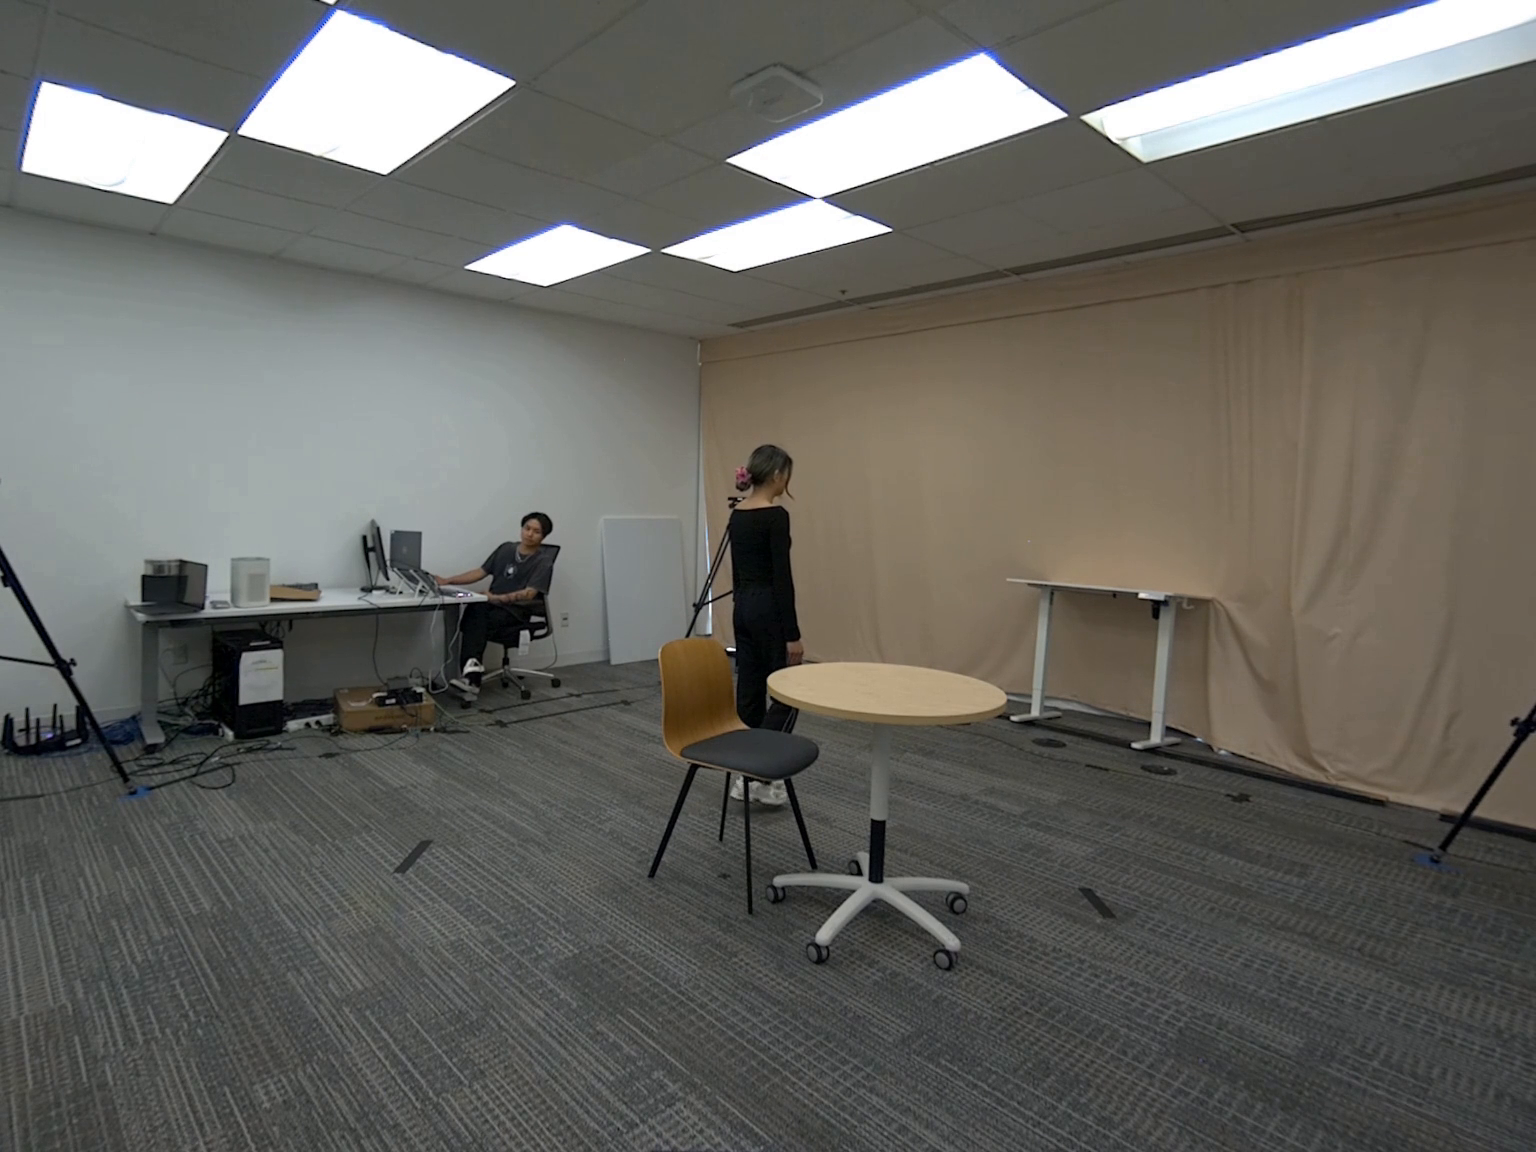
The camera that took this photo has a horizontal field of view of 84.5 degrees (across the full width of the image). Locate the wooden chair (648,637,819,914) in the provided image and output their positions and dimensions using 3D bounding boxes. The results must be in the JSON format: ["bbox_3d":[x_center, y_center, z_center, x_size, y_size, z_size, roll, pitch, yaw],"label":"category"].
[{"bbox_3d":[-0.115,0.681,3.091,0.534,0.877,0.468,-2,0,35],"label":"wooden chair"}]
